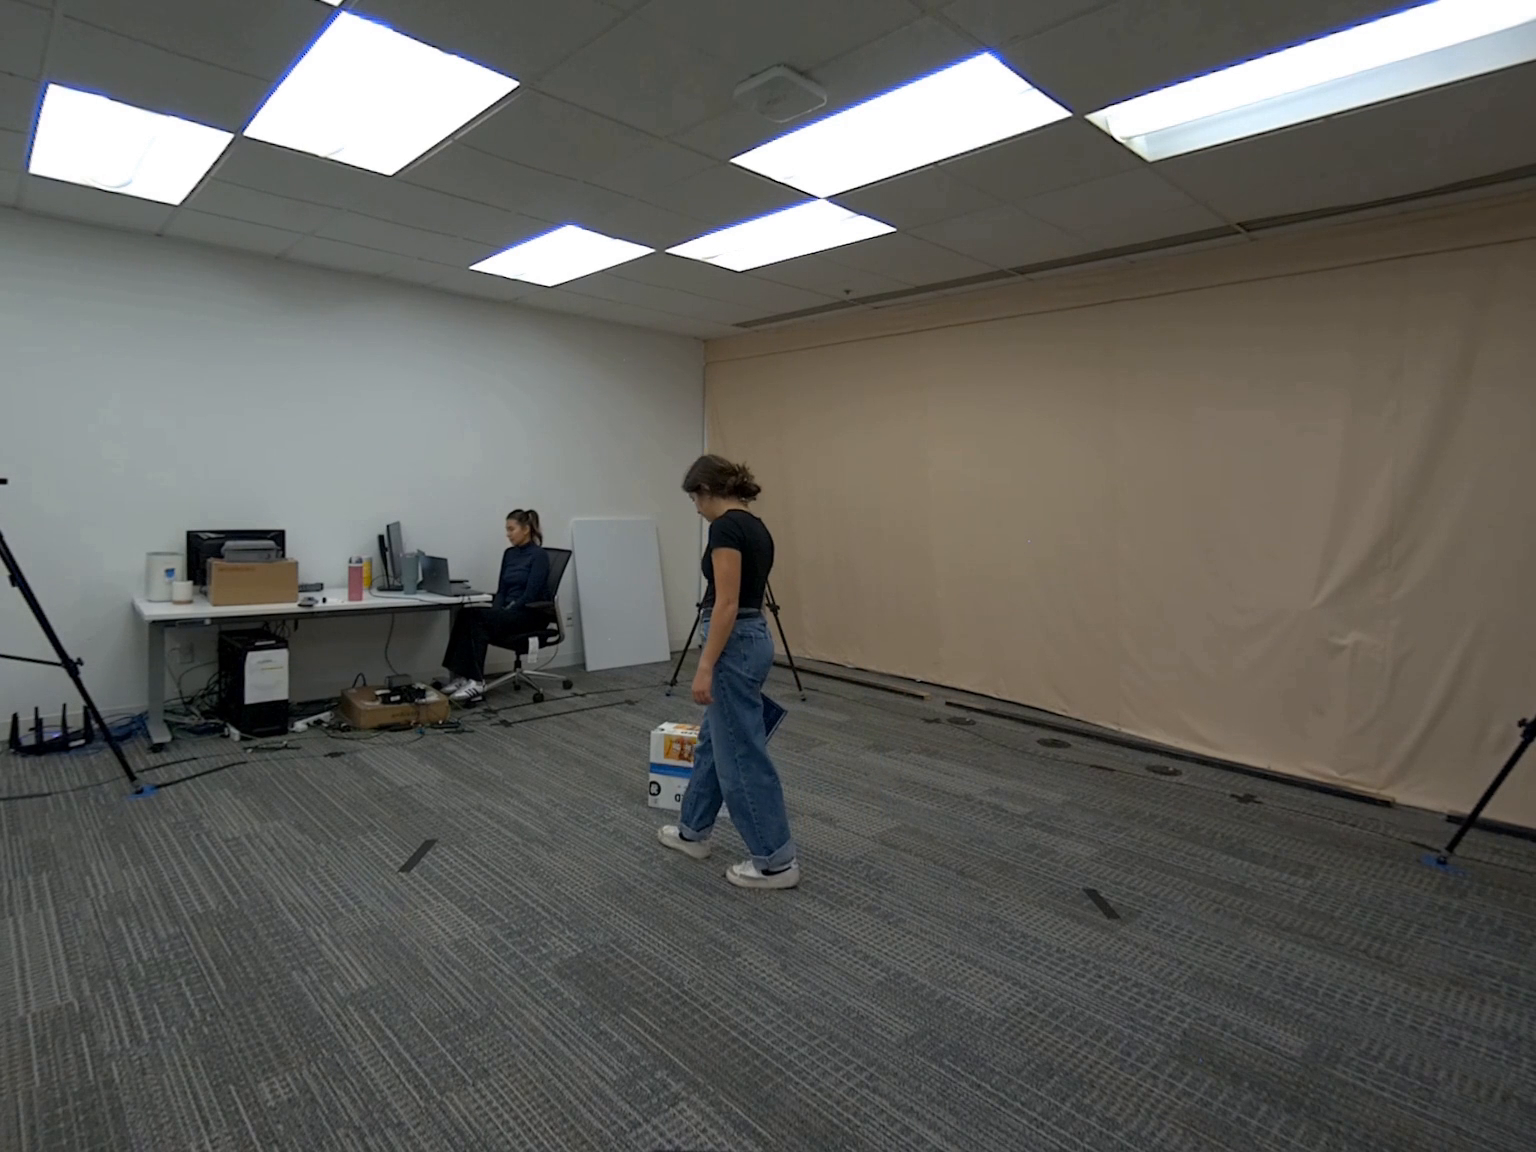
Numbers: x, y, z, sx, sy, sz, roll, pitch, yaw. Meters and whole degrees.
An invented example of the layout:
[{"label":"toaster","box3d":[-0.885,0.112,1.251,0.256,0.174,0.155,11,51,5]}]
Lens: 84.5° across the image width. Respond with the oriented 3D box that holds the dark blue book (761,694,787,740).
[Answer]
[{"label":"dark blue book","box3d":[-0.084,0.529,3.317,0.251,0.163,0.044,35,-3,23]}]
